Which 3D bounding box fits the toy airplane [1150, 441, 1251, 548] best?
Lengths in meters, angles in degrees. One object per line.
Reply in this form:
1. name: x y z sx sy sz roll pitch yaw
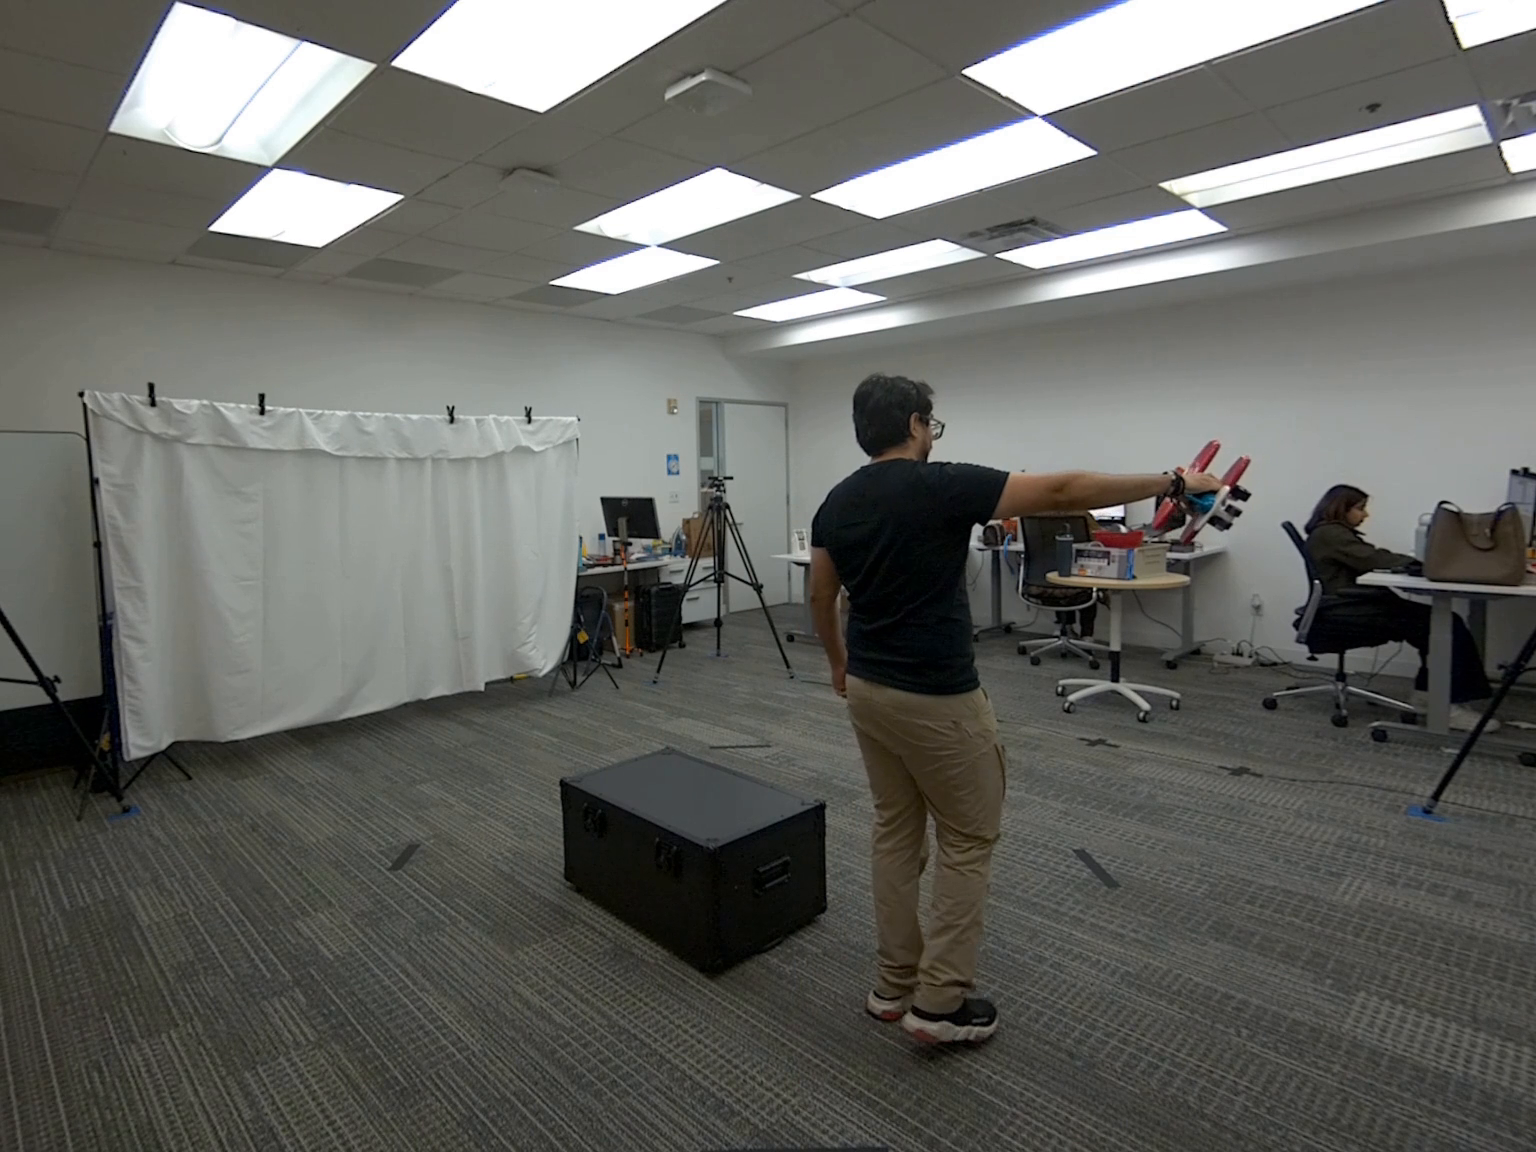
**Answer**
1. toy airplane: 1.093 -0.201 2.069 0.161 0.251 0.252 37 -3 20
